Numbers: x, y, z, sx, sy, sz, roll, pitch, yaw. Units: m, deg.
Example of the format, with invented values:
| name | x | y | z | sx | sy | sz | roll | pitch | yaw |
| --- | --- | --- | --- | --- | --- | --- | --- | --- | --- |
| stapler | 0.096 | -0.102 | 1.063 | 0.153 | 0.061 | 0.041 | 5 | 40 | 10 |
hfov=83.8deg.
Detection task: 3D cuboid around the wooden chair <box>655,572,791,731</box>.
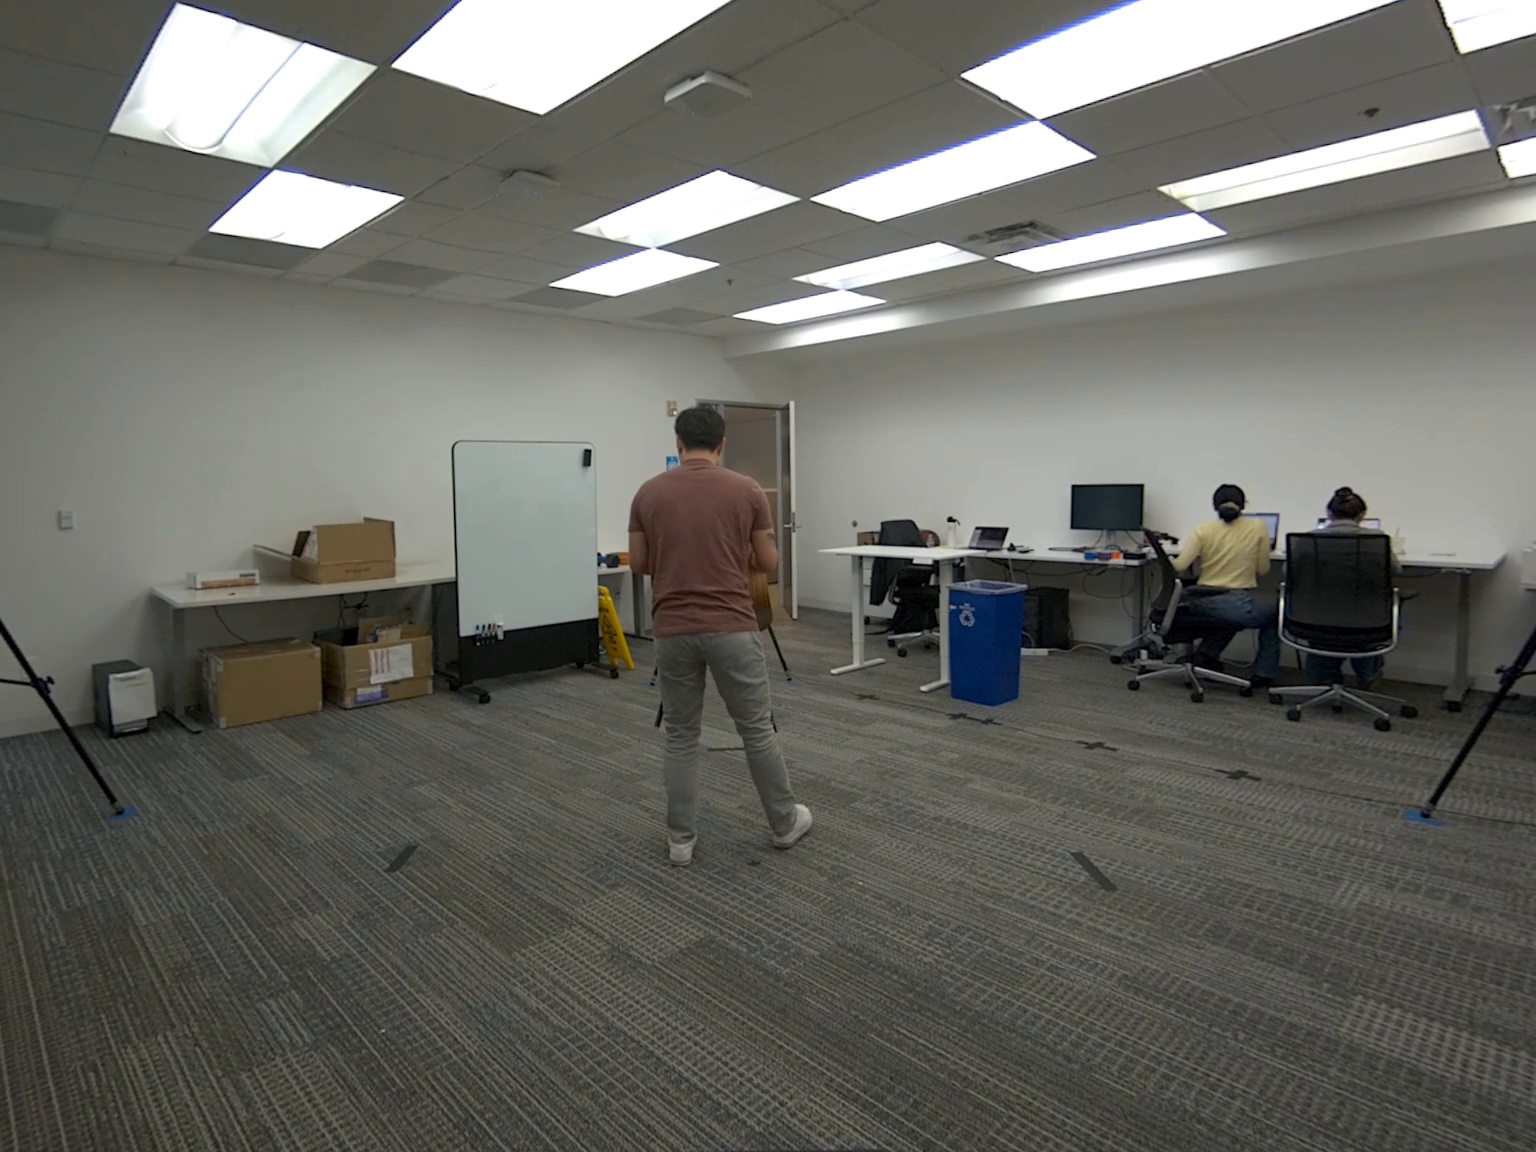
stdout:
| name | x | y | z | sx | sy | sz | roll | pitch | yaw |
| --- | --- | --- | --- | --- | --- | --- | --- | --- | --- |
| wooden chair | -0.210 | 0.213 | 3.569 | 0.480 | 0.889 | 0.515 | -4 | -13 | 3 |
